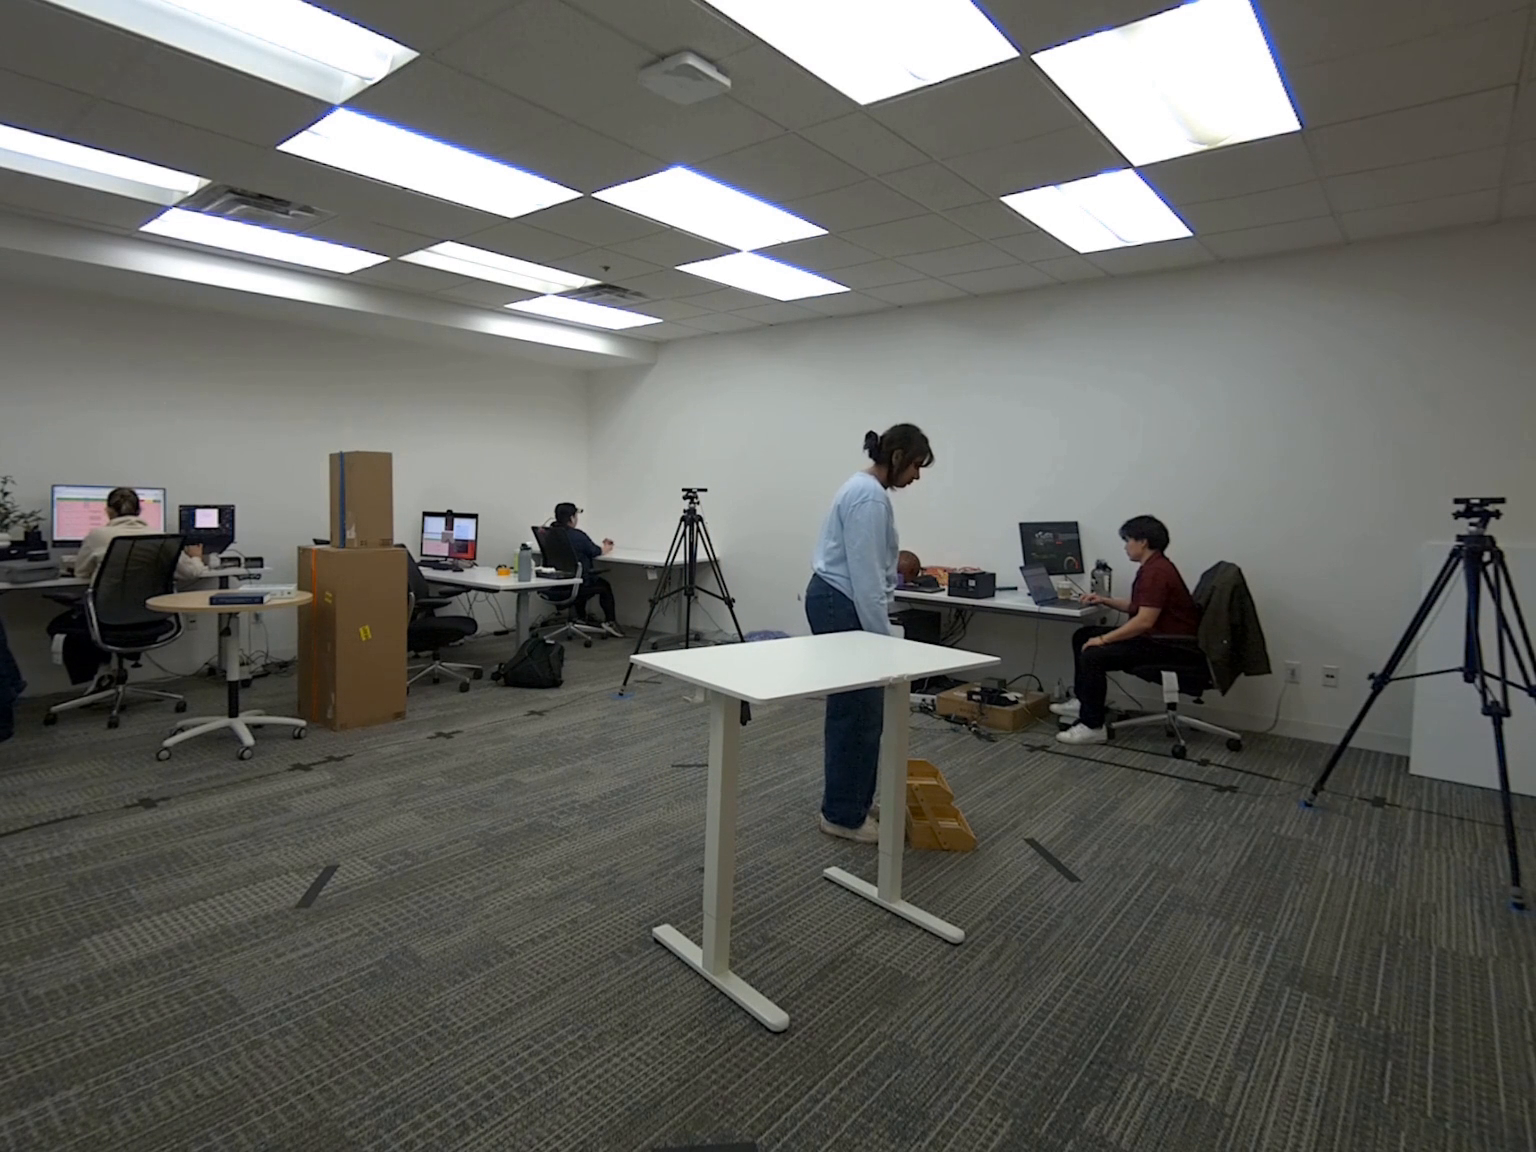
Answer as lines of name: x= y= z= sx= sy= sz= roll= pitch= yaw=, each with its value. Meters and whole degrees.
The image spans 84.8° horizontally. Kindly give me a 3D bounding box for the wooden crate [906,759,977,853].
wooden crate: x=0.671 y=0.923 z=3.476 sx=0.303 sy=0.272 sz=0.324 roll=0 pitch=4 yaw=2
